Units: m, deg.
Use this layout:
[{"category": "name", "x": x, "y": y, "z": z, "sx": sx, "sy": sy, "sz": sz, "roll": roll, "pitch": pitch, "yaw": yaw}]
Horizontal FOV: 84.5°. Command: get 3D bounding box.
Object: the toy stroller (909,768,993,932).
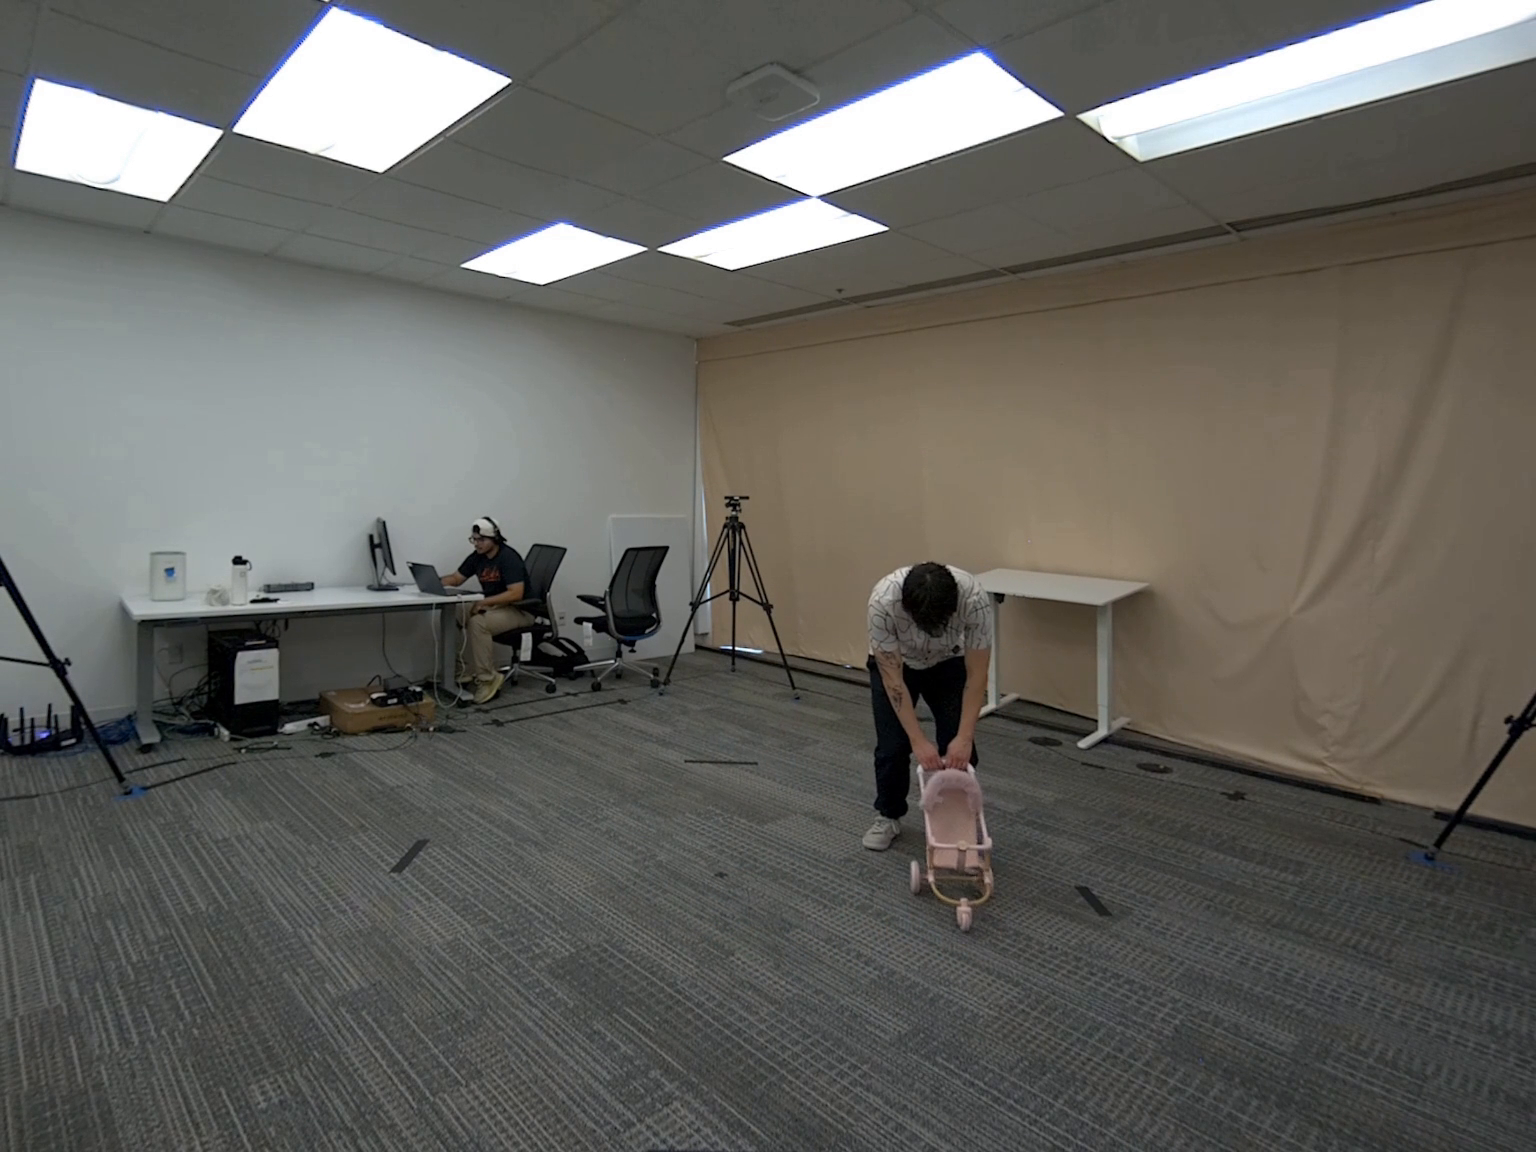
[{"category": "toy stroller", "x": 0.639, "y": 0.917, "z": 2.916, "sx": 0.283, "sy": 0.539, "sz": 0.336, "roll": 0, "pitch": -11, "yaw": 7}]
